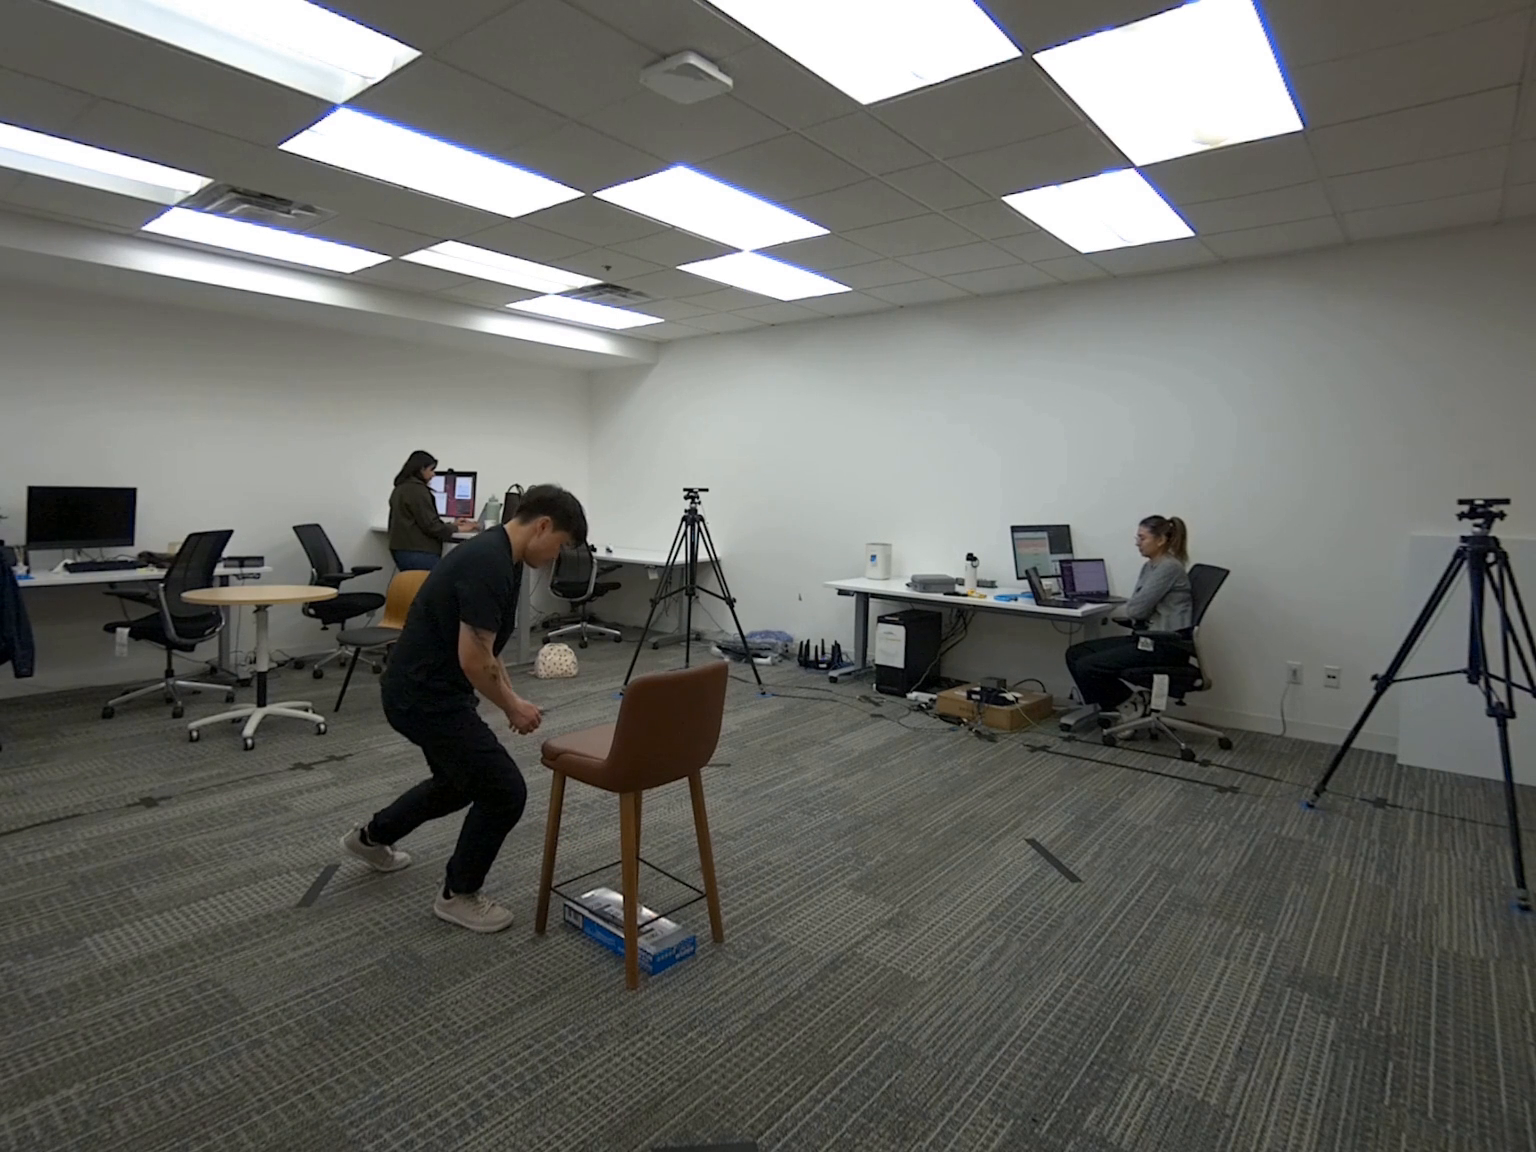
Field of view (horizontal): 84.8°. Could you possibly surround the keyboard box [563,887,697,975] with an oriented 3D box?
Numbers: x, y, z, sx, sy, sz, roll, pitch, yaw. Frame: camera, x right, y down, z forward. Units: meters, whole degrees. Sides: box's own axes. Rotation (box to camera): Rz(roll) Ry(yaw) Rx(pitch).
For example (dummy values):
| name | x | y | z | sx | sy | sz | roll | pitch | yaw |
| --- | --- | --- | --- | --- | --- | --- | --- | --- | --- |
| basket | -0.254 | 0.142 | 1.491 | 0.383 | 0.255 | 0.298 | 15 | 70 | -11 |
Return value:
| name | x | y | z | sx | sy | sz | roll | pitch | yaw |
| --- | --- | --- | --- | --- | --- | --- | --- | --- | --- |
| keyboard box | -0.447 | 1.095 | 2.622 | 0.452 | 0.059 | 0.171 | 6 | 8 | 42 |
